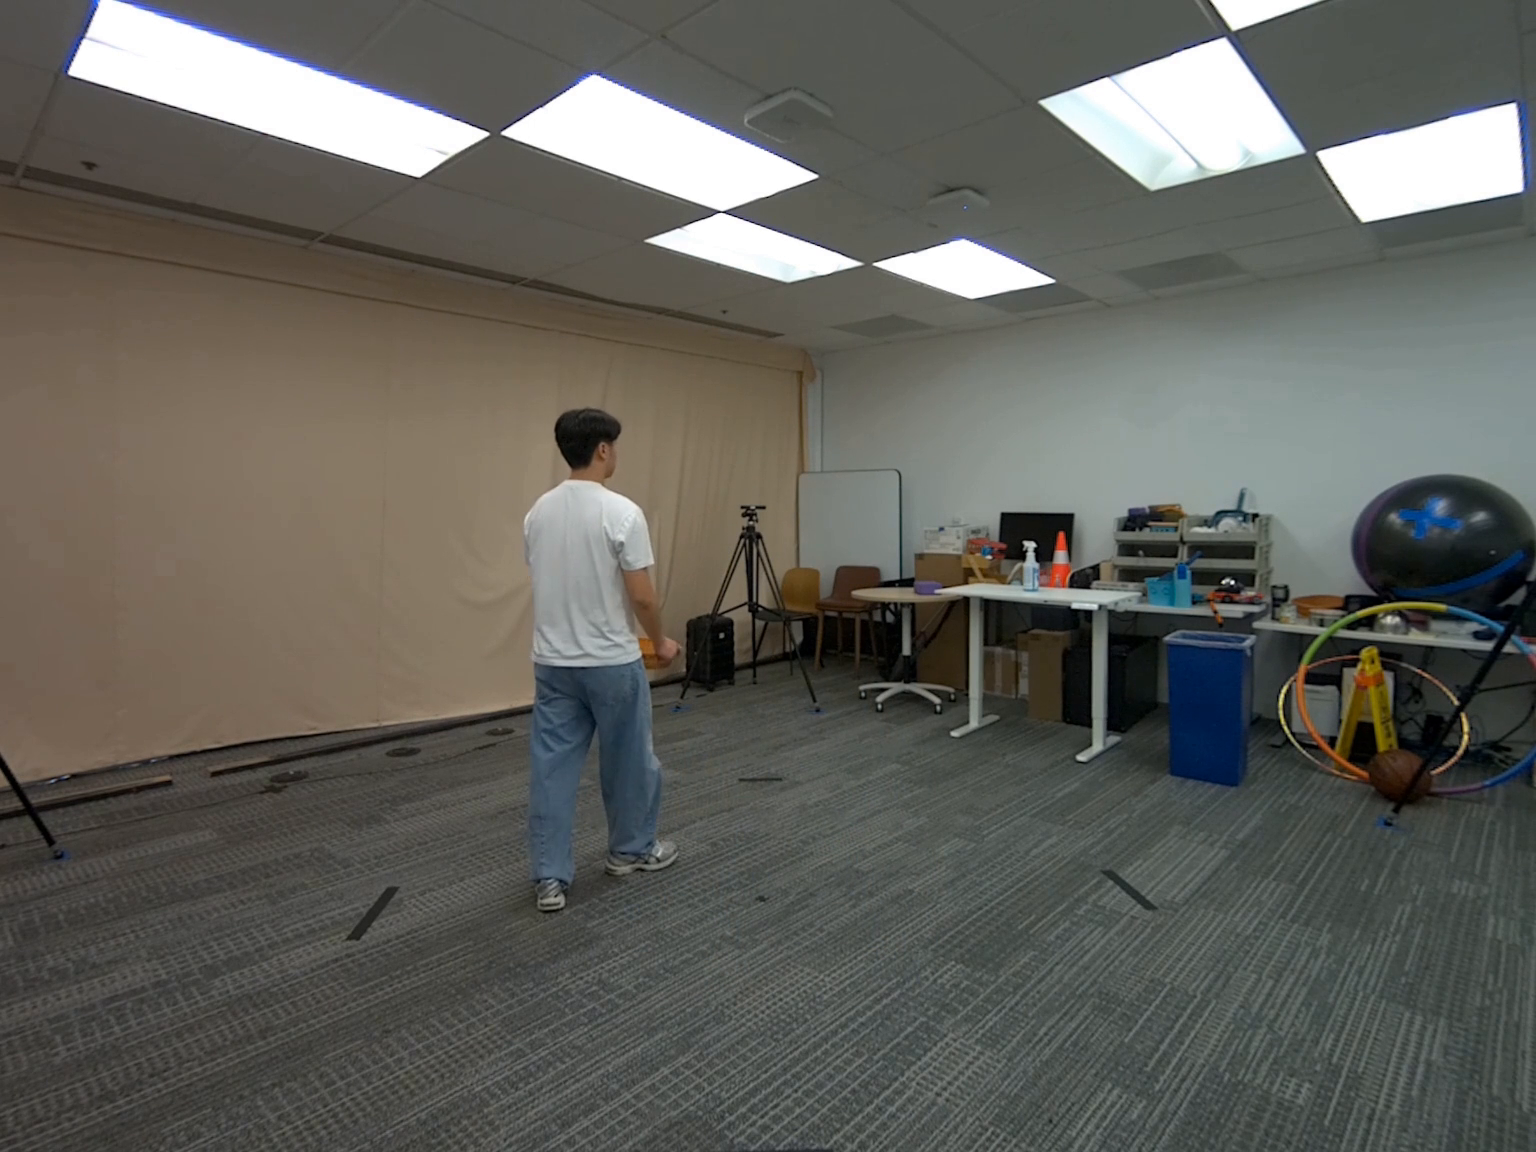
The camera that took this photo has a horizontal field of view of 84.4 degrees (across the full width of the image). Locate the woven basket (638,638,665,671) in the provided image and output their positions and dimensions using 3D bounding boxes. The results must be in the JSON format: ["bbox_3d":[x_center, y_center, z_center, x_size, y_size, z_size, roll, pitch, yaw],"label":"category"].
[{"bbox_3d":[-0.509,0.304,3.256,0.362,0.073,0.245,7,9,38],"label":"woven basket"}]
